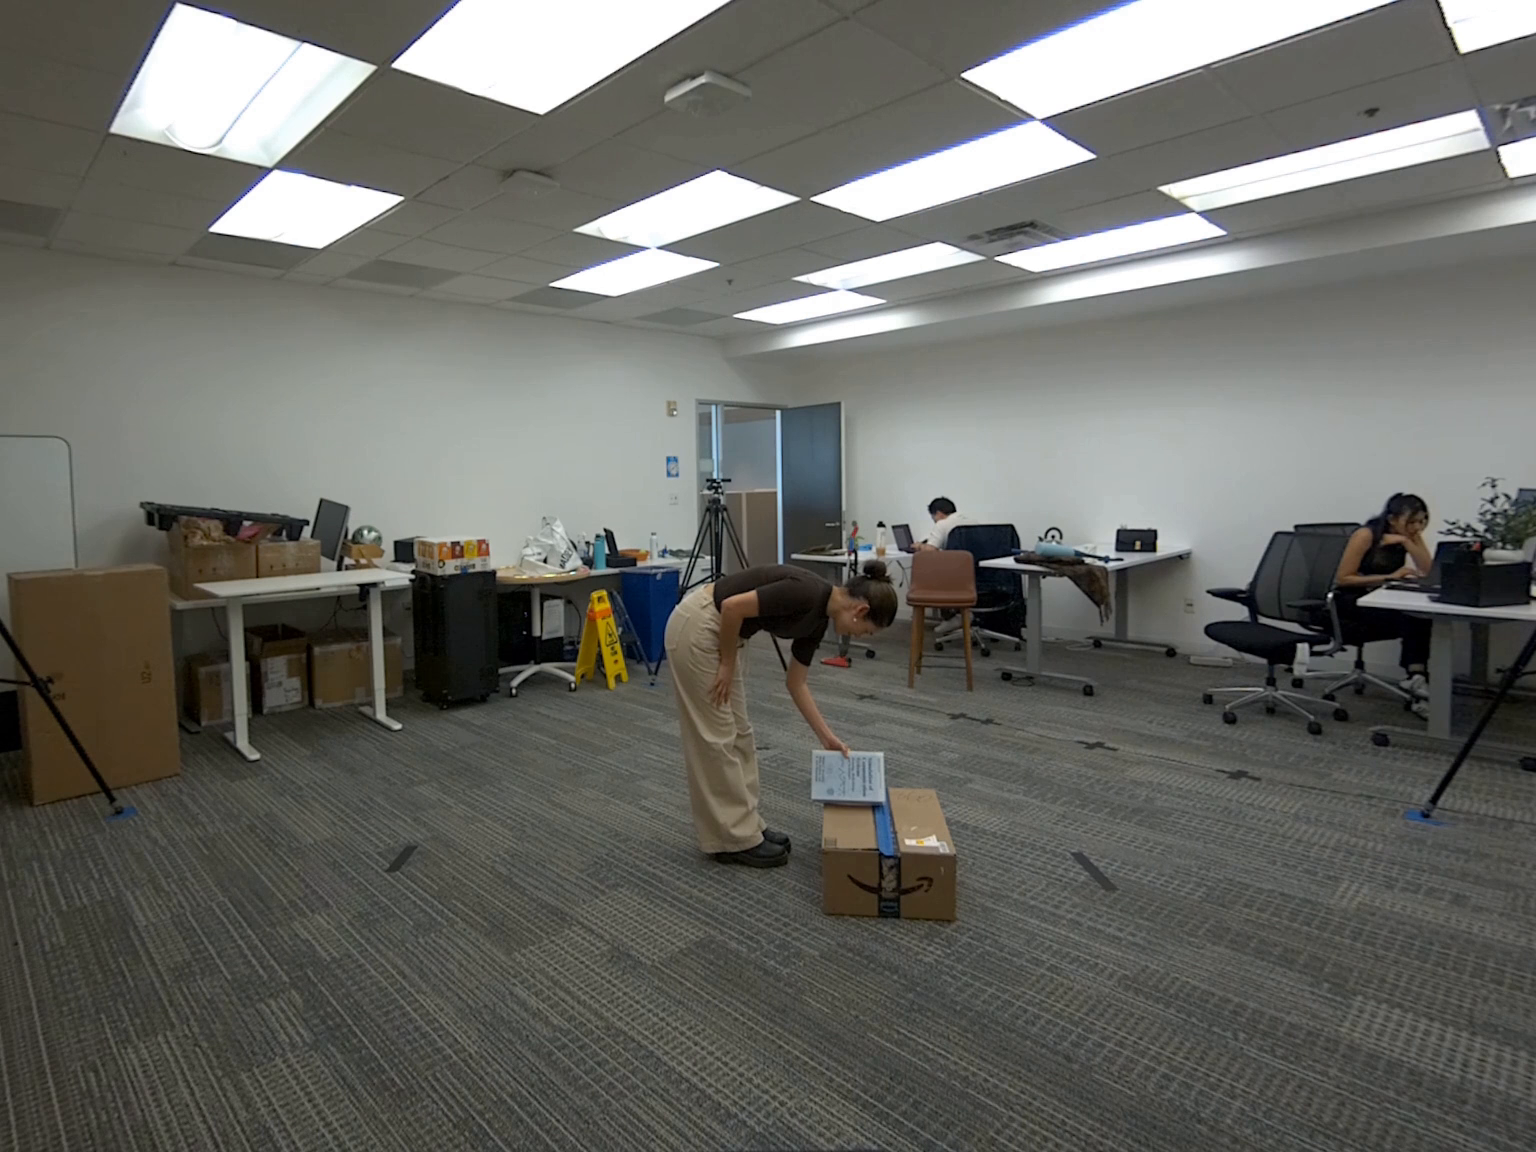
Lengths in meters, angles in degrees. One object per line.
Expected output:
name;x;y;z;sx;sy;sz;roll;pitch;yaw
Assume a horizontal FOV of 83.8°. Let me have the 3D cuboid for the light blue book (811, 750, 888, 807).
light blue book;0.286;0.737;3.121;0.263;0.196;0.057;-1;-37;7
